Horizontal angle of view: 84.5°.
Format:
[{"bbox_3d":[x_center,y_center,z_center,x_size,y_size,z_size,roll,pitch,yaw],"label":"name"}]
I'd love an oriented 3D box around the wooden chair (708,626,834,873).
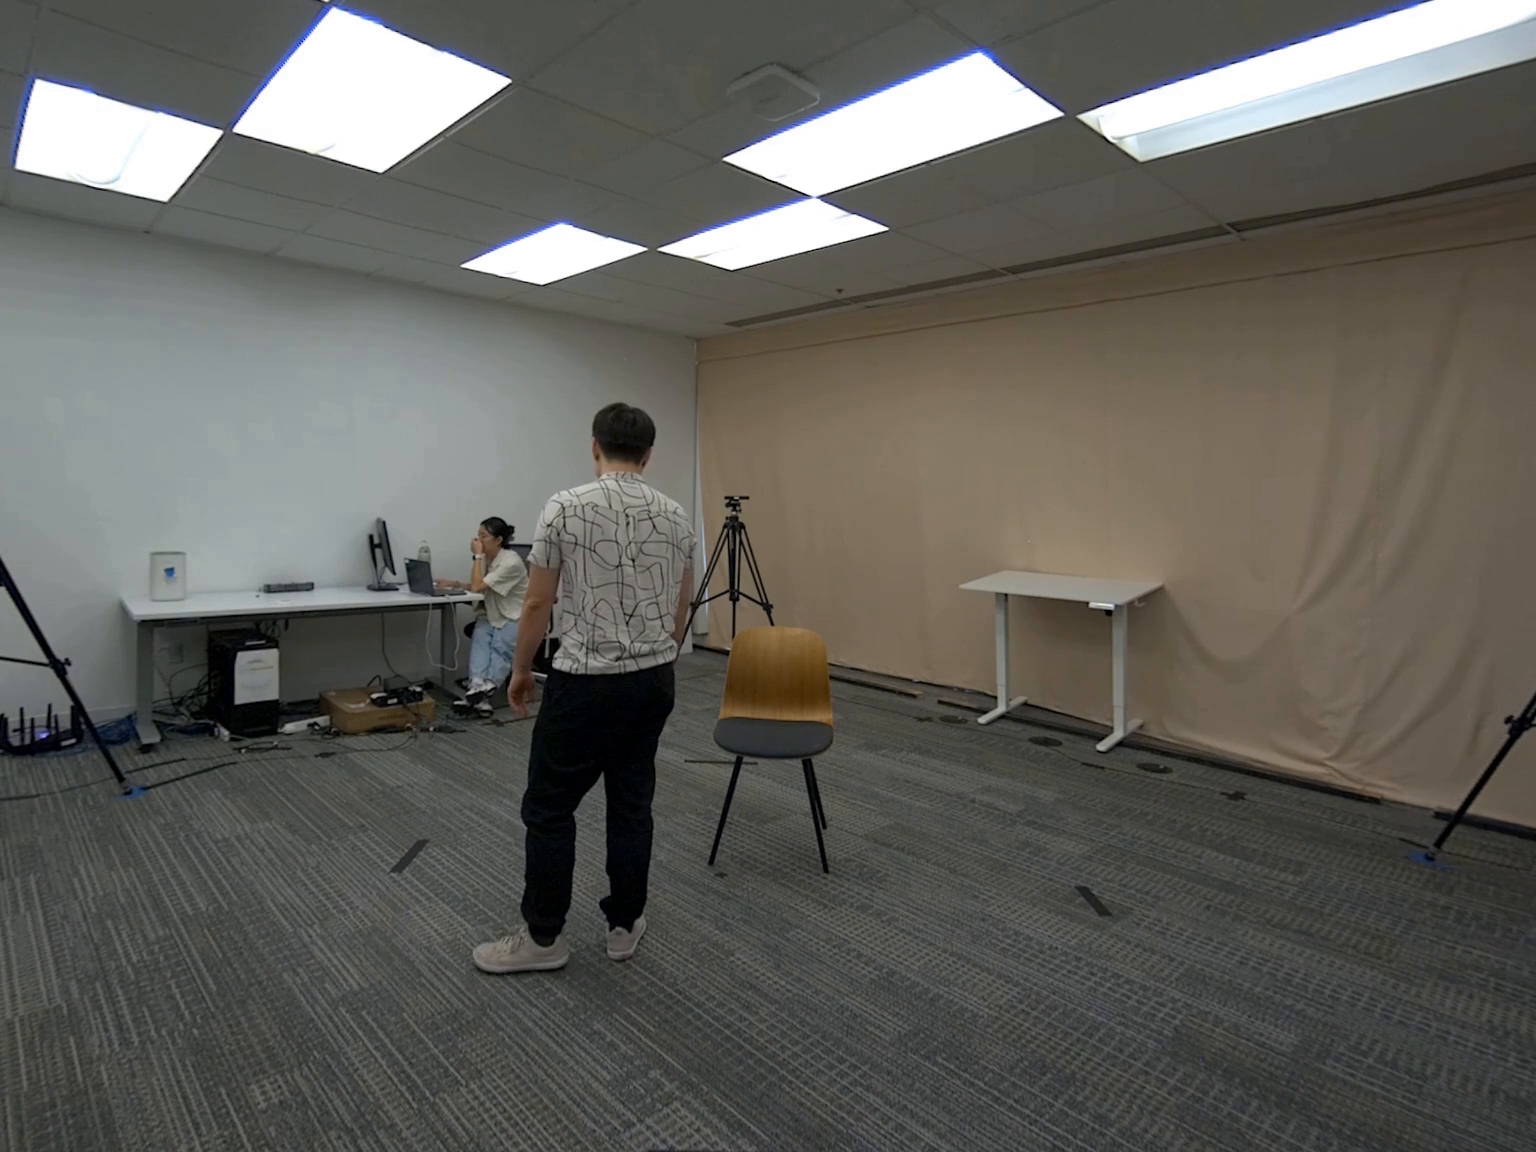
[{"bbox_3d":[0.023,0.657,3.341,0.480,0.878,0.520,2,-1,4],"label":"wooden chair"}]
